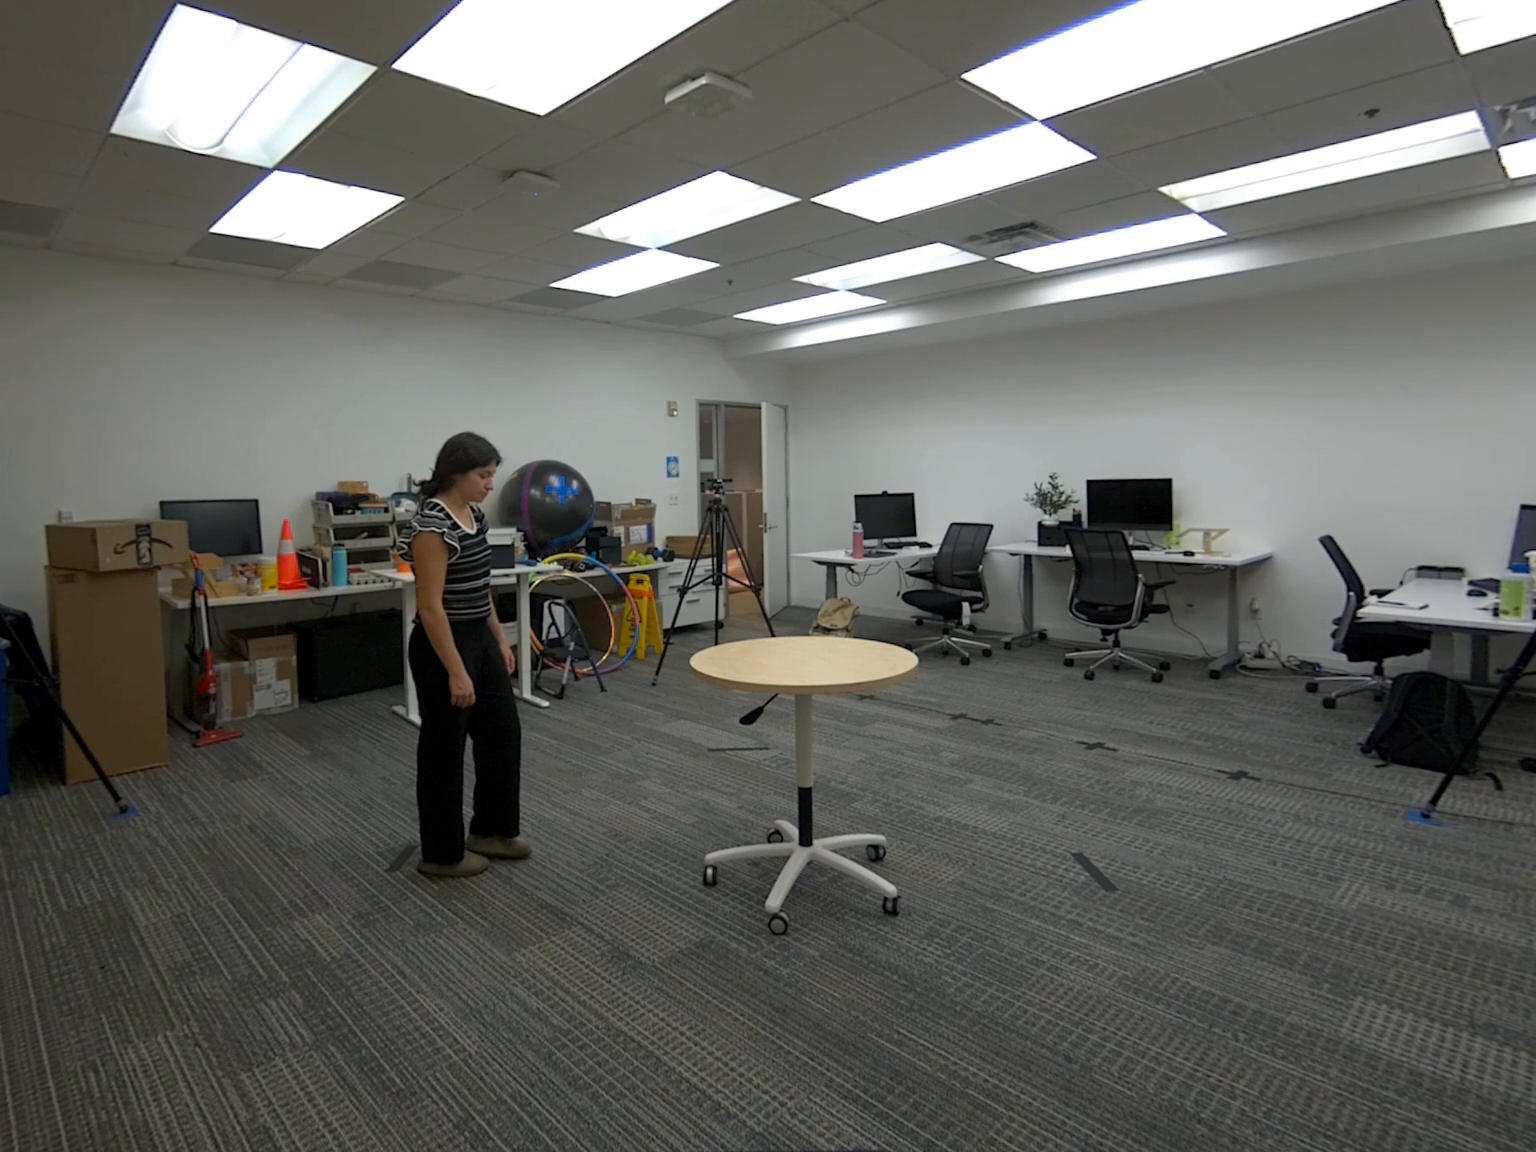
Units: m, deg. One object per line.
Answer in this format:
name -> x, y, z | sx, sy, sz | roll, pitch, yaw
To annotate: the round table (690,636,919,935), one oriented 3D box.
round table -> 0.125, 0.664, 2.932 | 0.784, 0.783, 0.789 | -1, 5, -2
